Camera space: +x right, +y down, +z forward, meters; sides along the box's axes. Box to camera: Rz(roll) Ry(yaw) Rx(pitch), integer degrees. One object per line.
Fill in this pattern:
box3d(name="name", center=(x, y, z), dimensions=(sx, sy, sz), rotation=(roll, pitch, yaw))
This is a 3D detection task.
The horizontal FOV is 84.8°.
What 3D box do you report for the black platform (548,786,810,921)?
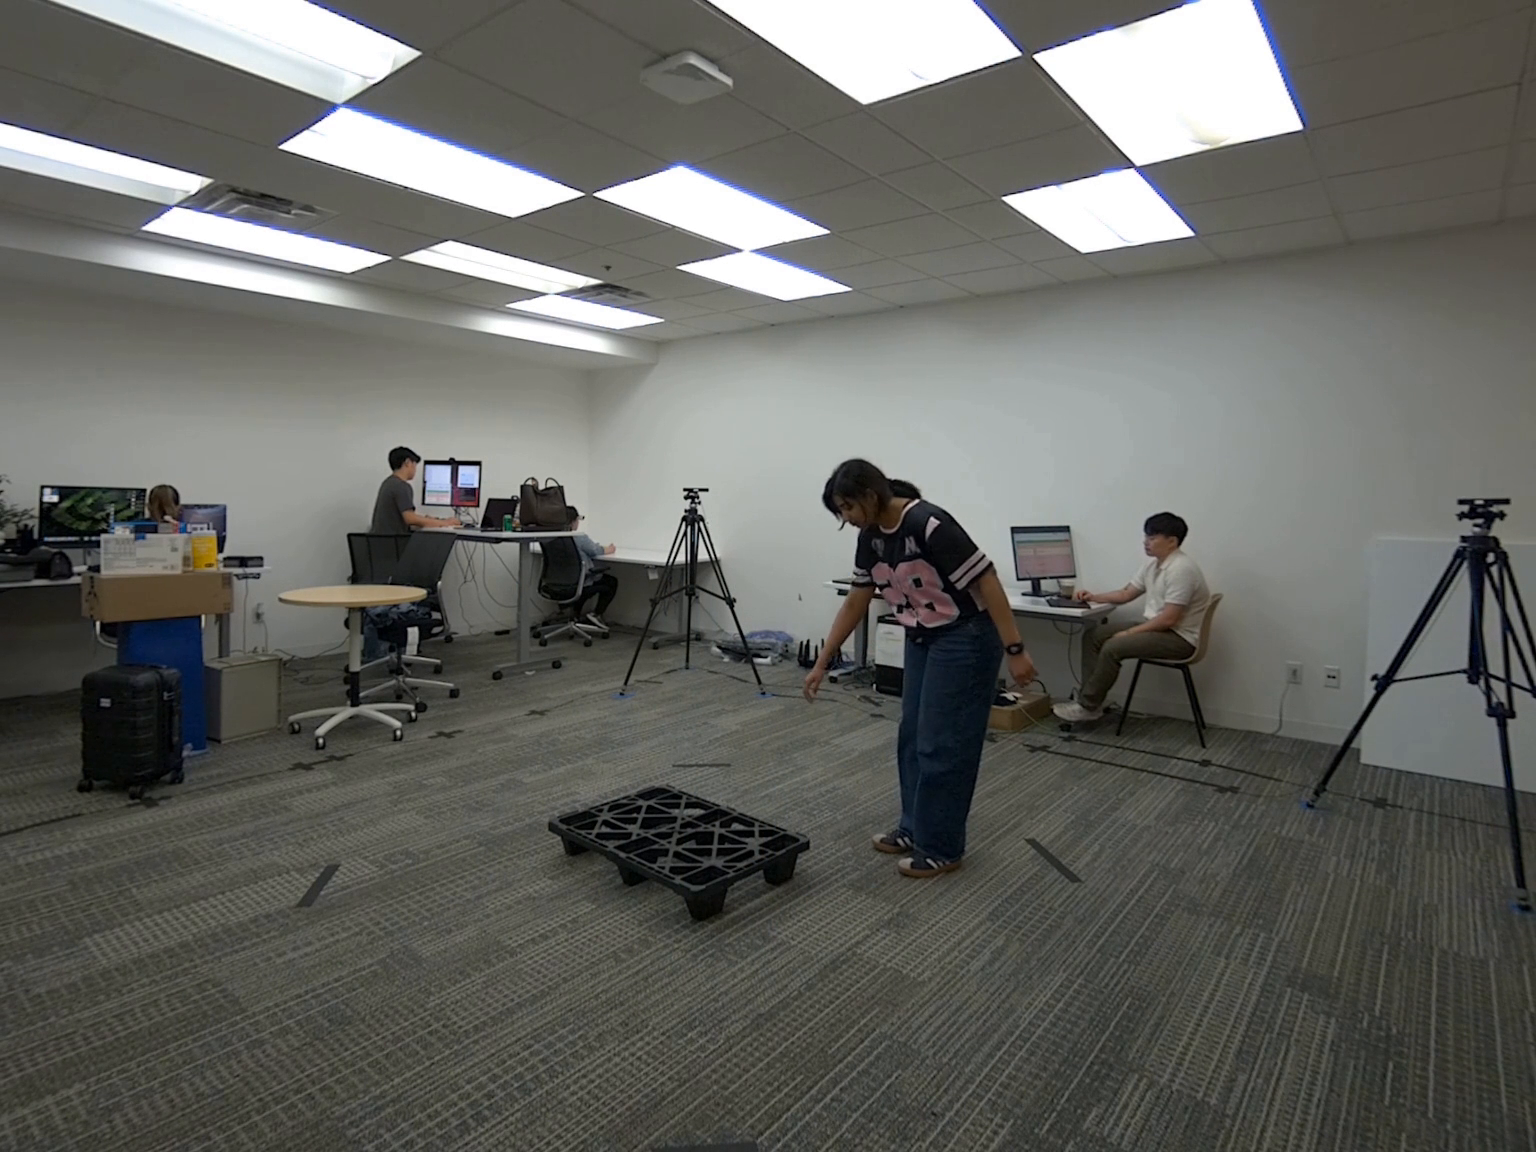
box3d(name="black platform", center=(-0.348, 0.998, 3.146), dimensions=(0.833, 0.143, 0.587), rotation=(6, 7, 42))
